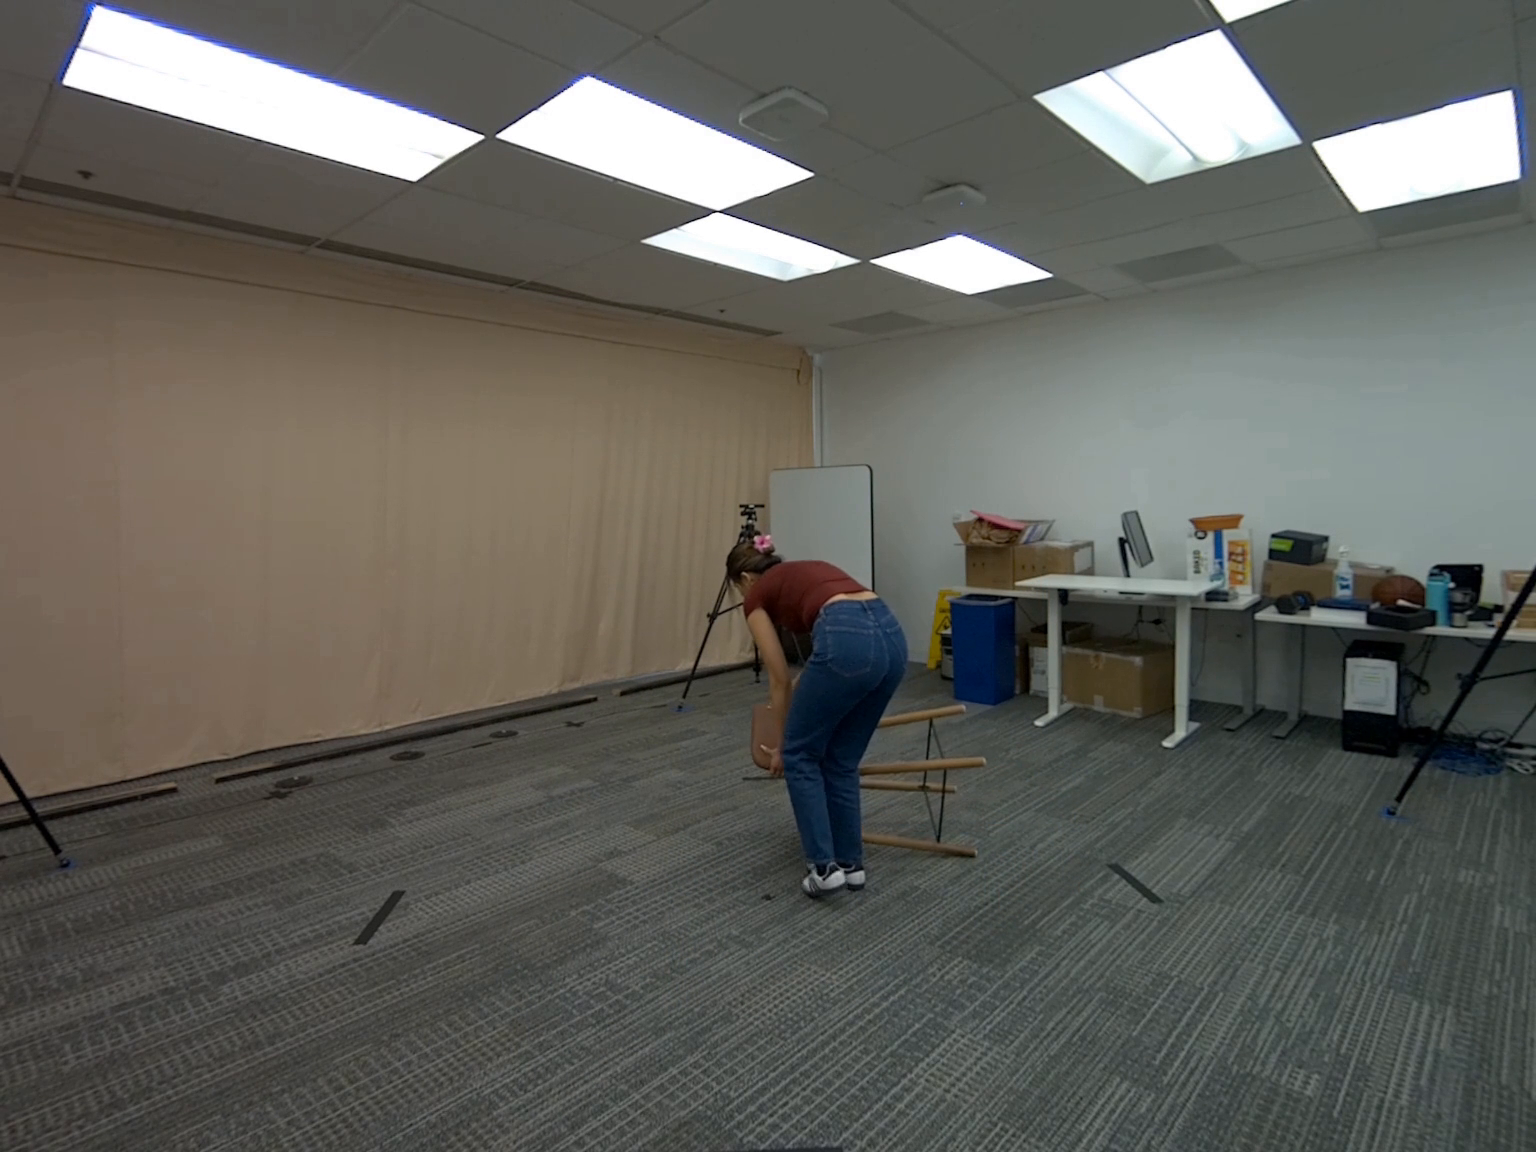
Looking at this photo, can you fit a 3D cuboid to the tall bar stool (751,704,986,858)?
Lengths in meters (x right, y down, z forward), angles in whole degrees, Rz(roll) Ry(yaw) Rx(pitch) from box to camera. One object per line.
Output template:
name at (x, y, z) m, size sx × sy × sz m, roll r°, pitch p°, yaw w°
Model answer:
tall bar stool at (0.383, 0.809, 3.413) m, size 0.892 × 0.461 × 0.462 m, roll 1°, pitch 25°, yaw 2°
